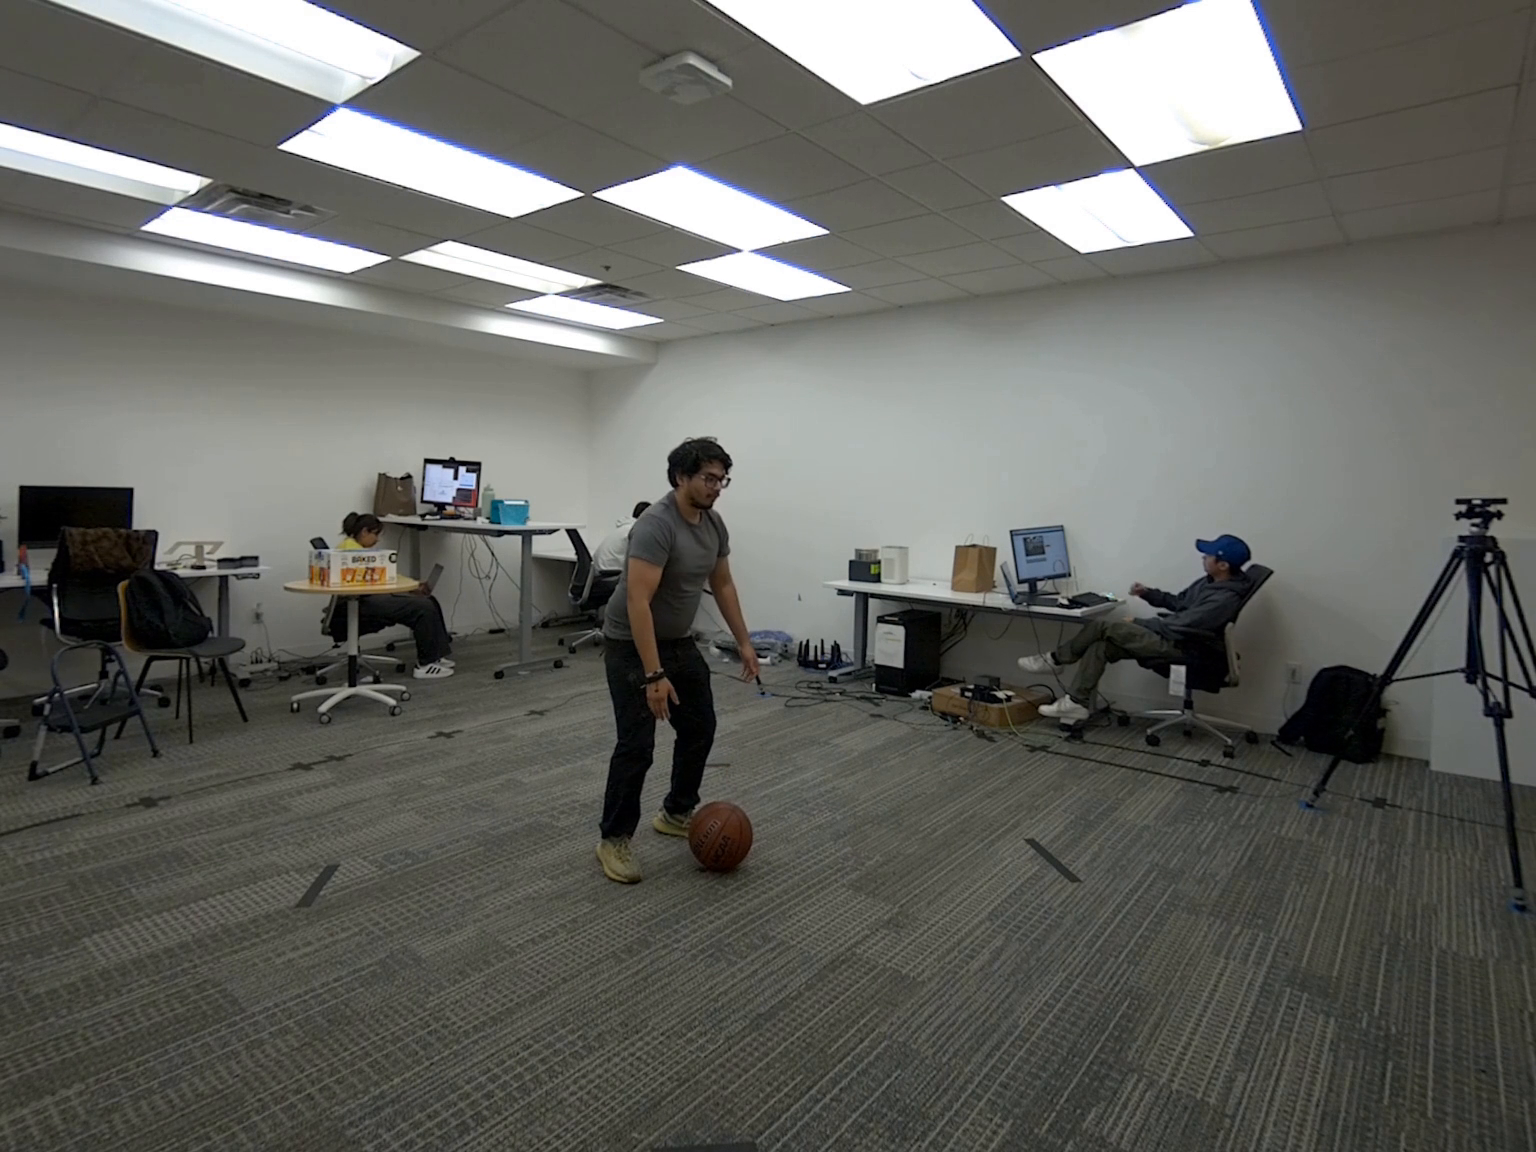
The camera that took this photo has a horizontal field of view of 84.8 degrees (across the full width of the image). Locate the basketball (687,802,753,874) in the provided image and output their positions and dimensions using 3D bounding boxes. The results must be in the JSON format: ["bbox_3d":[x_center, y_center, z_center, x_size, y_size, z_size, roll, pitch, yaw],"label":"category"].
[{"bbox_3d":[-0.180,0.949,3.122,0.235,0.235,0.237,1,4,-2],"label":"basketball"}]
